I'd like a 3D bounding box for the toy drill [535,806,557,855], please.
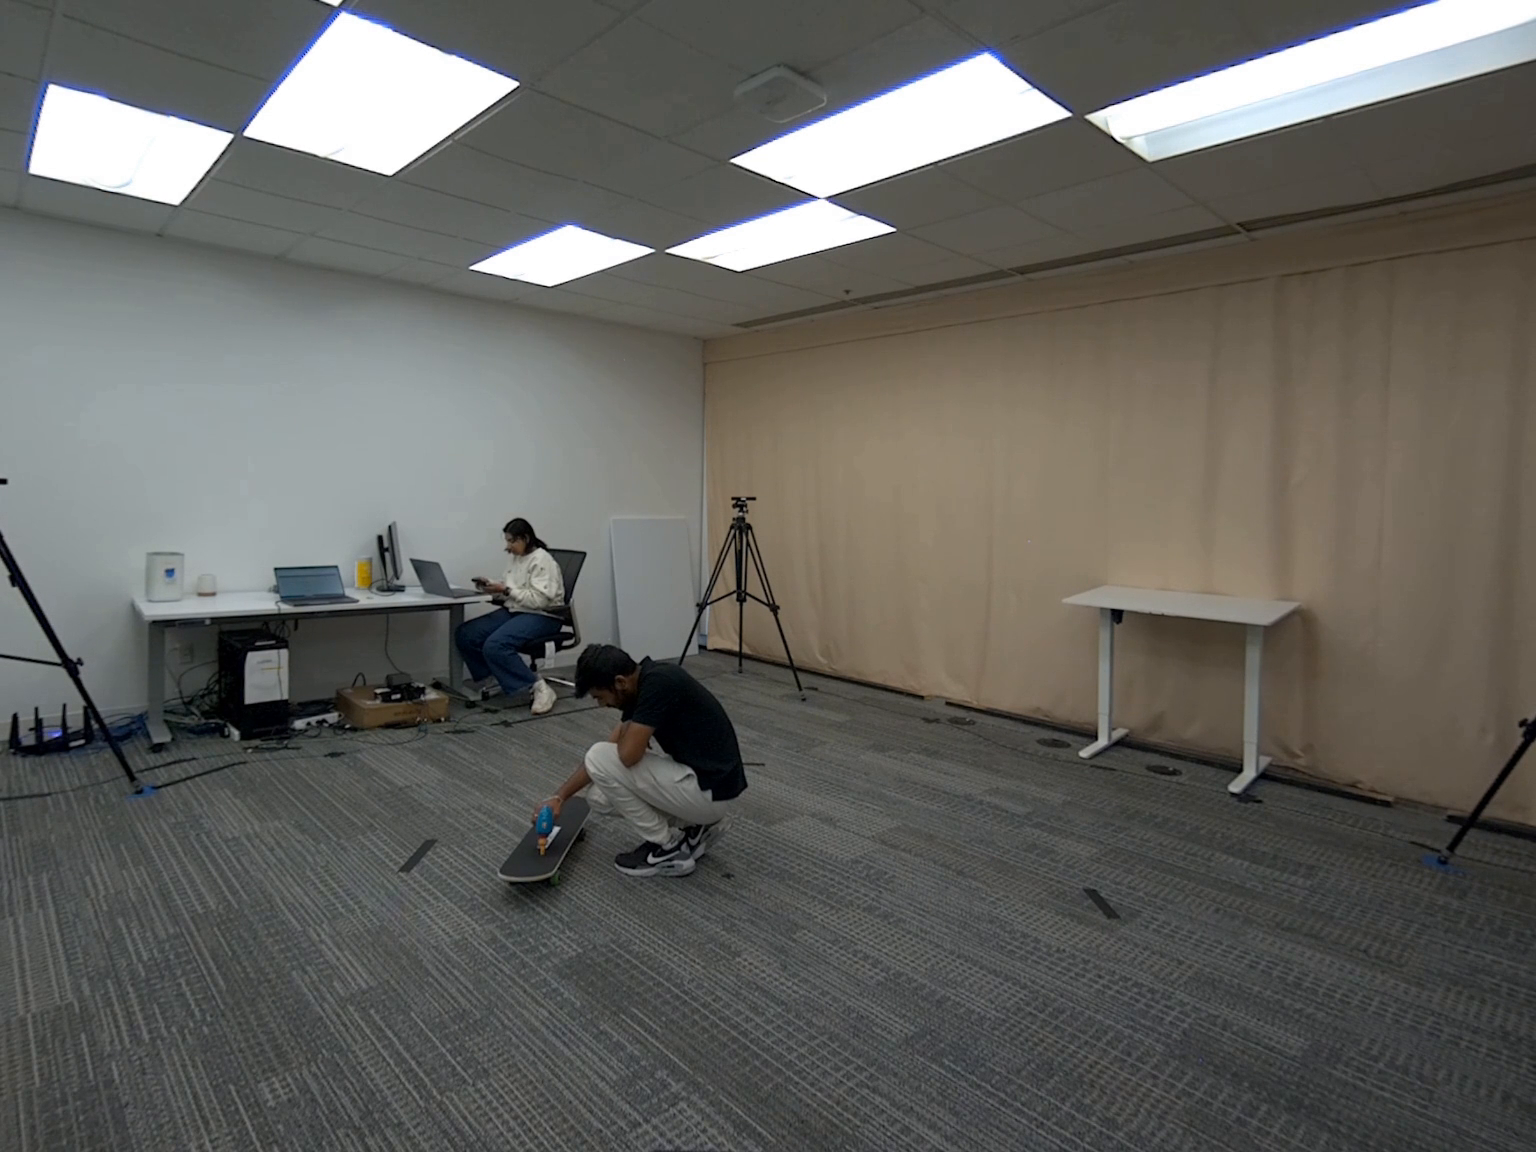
[{"bbox_3d":[-0.828,0.928,3.113,0.061,0.172,0.144,1,-17,-3],"label":"toy drill"}]
